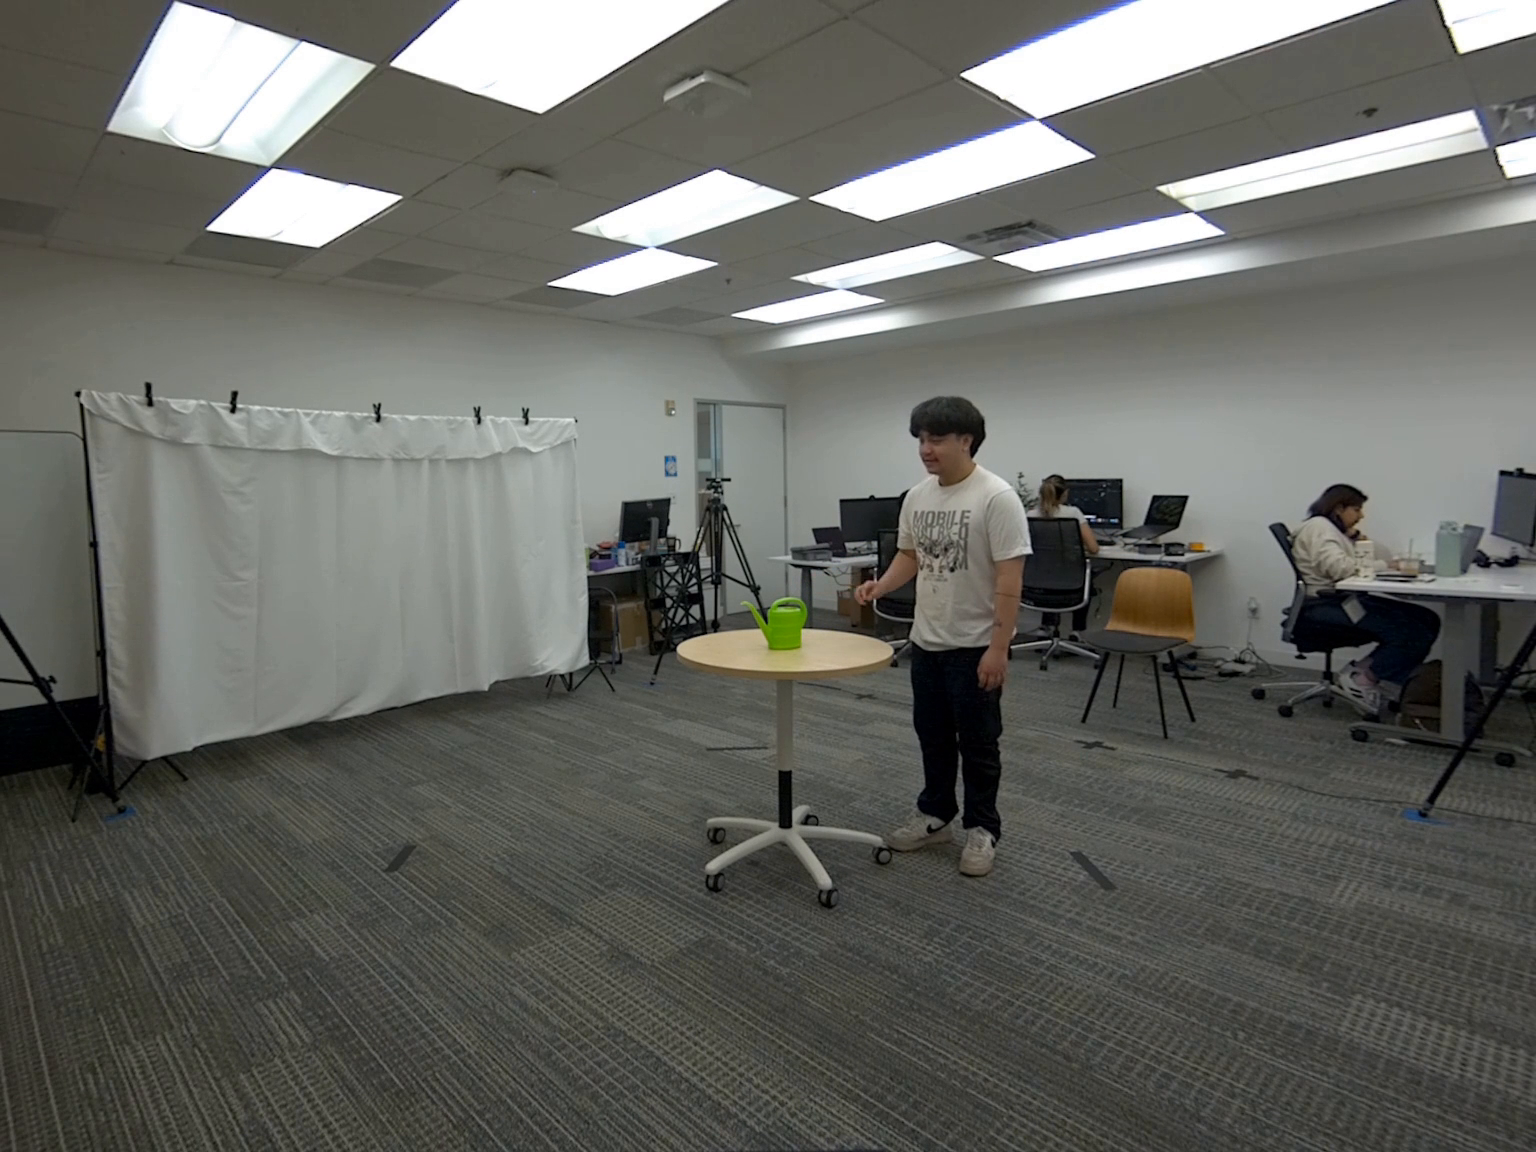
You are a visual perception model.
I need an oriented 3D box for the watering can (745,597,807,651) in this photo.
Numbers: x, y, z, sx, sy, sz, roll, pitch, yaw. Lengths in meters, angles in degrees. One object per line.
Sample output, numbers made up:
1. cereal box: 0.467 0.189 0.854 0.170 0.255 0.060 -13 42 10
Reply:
1. watering can: 0.028 0.167 3.032 0.273 0.177 0.100 0 0 -18
